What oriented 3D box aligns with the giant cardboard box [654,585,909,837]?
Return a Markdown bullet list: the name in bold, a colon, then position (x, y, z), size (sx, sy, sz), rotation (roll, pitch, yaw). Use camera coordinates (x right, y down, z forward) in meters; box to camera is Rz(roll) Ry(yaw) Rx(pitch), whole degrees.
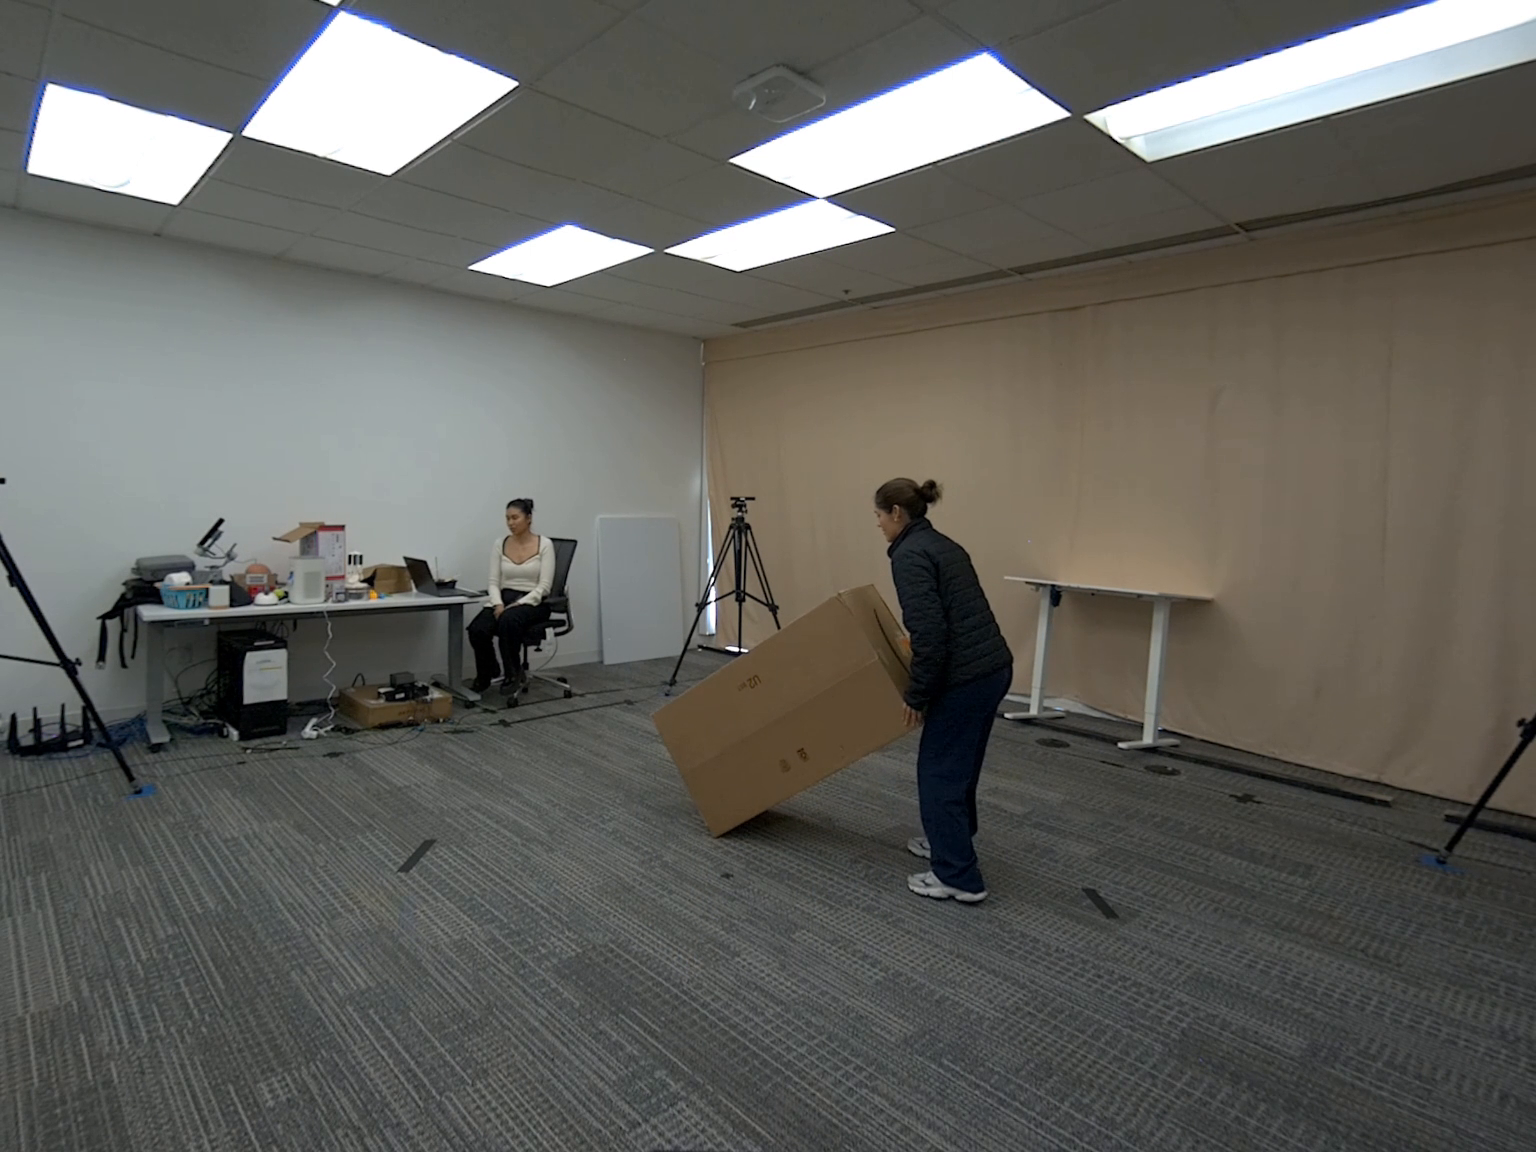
- **giant cardboard box**: position (0.102, 0.550, 3.492), size (1.032, 0.592, 0.439), rotation (-34, -13, 23)
